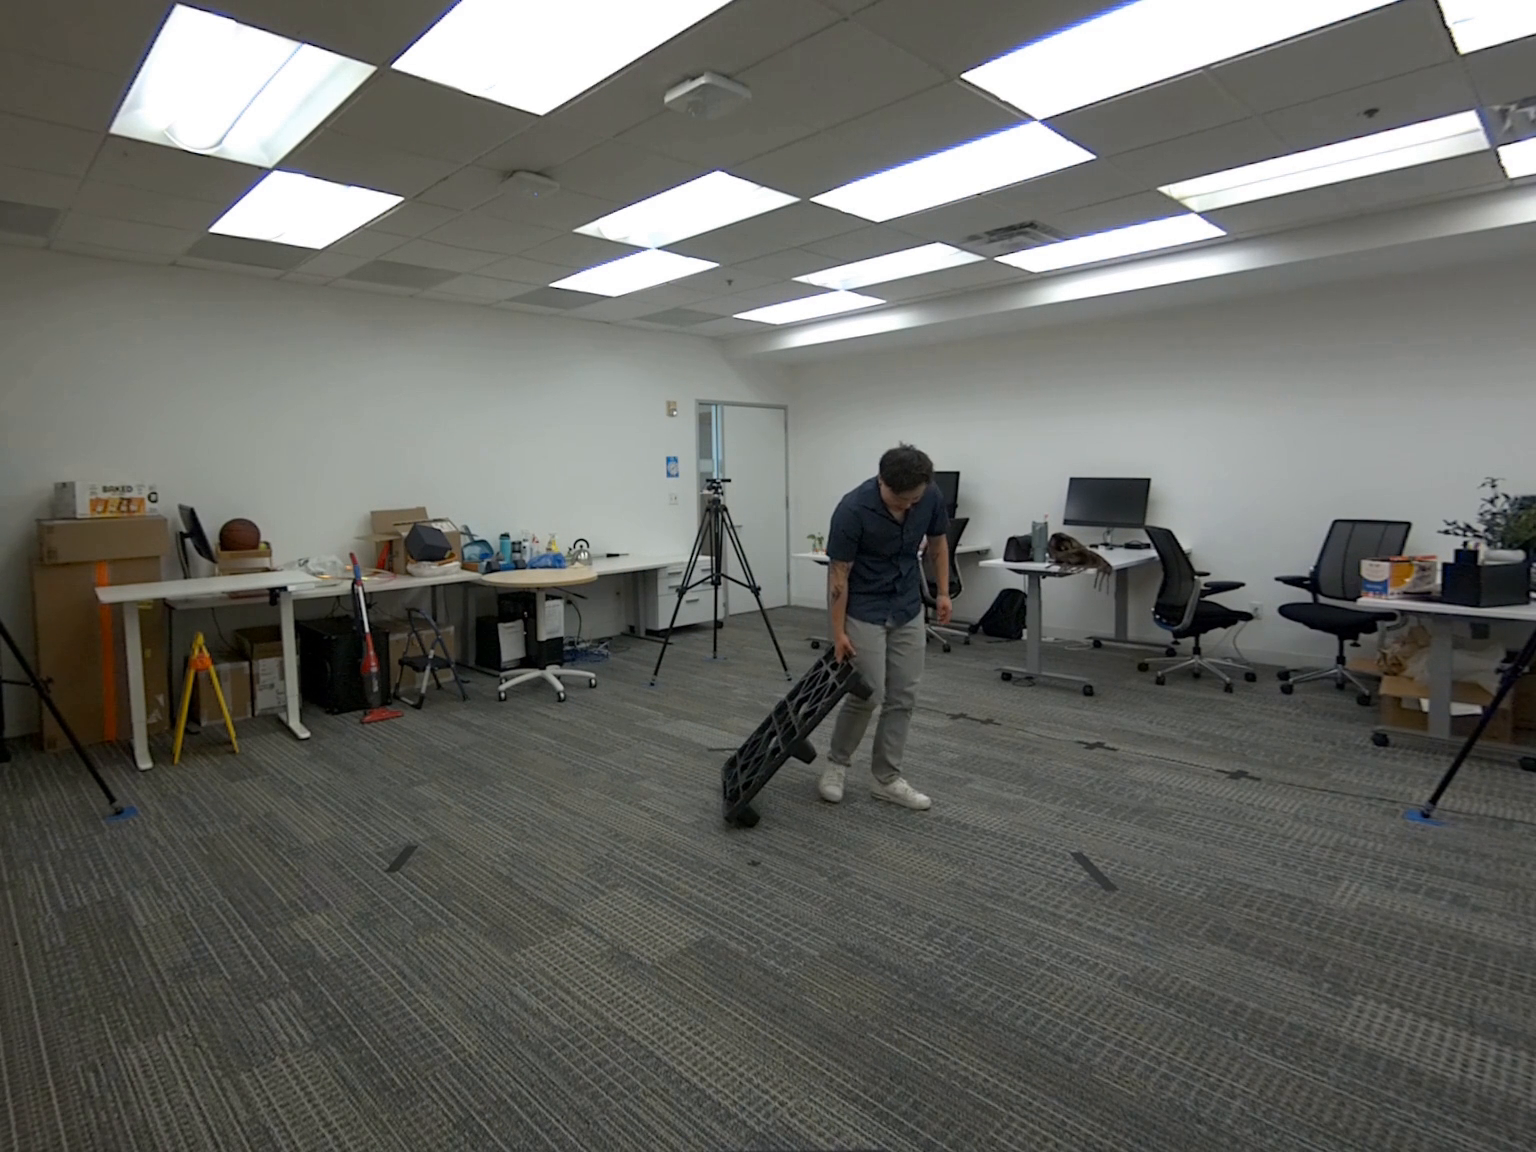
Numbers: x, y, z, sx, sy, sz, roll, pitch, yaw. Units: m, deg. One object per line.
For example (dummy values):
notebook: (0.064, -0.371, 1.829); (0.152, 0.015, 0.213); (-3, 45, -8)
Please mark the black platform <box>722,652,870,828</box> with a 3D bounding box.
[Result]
black platform: (0.110, 0.667, 3.641); (0.142, 0.805, 0.609); (40, 2, -6)
